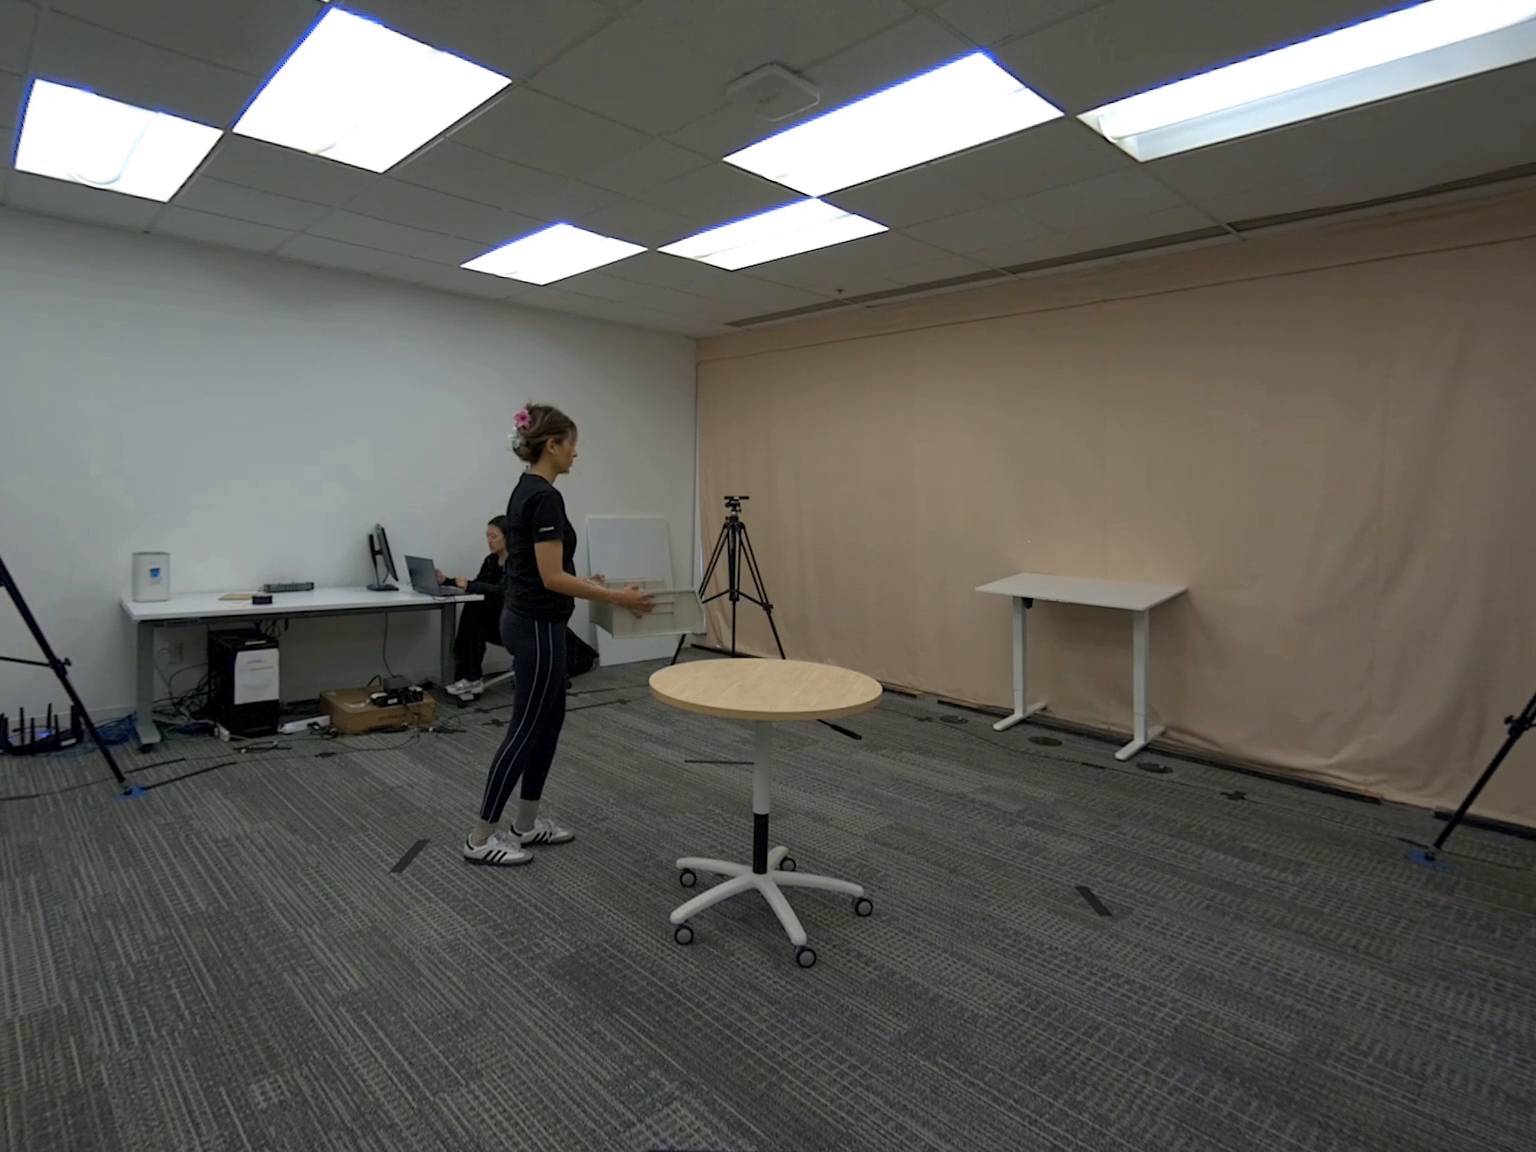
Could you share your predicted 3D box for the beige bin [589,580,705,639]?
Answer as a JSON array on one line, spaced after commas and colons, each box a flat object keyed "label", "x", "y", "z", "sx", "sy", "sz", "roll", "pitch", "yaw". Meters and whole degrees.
[{"label": "beige bin", "x": -0.517, "y": 0.126, "z": 3.429, "sx": 0.371, "sy": 0.188, "sz": 0.431, "roll": -4, "pitch": 7, "yaw": -24}]
